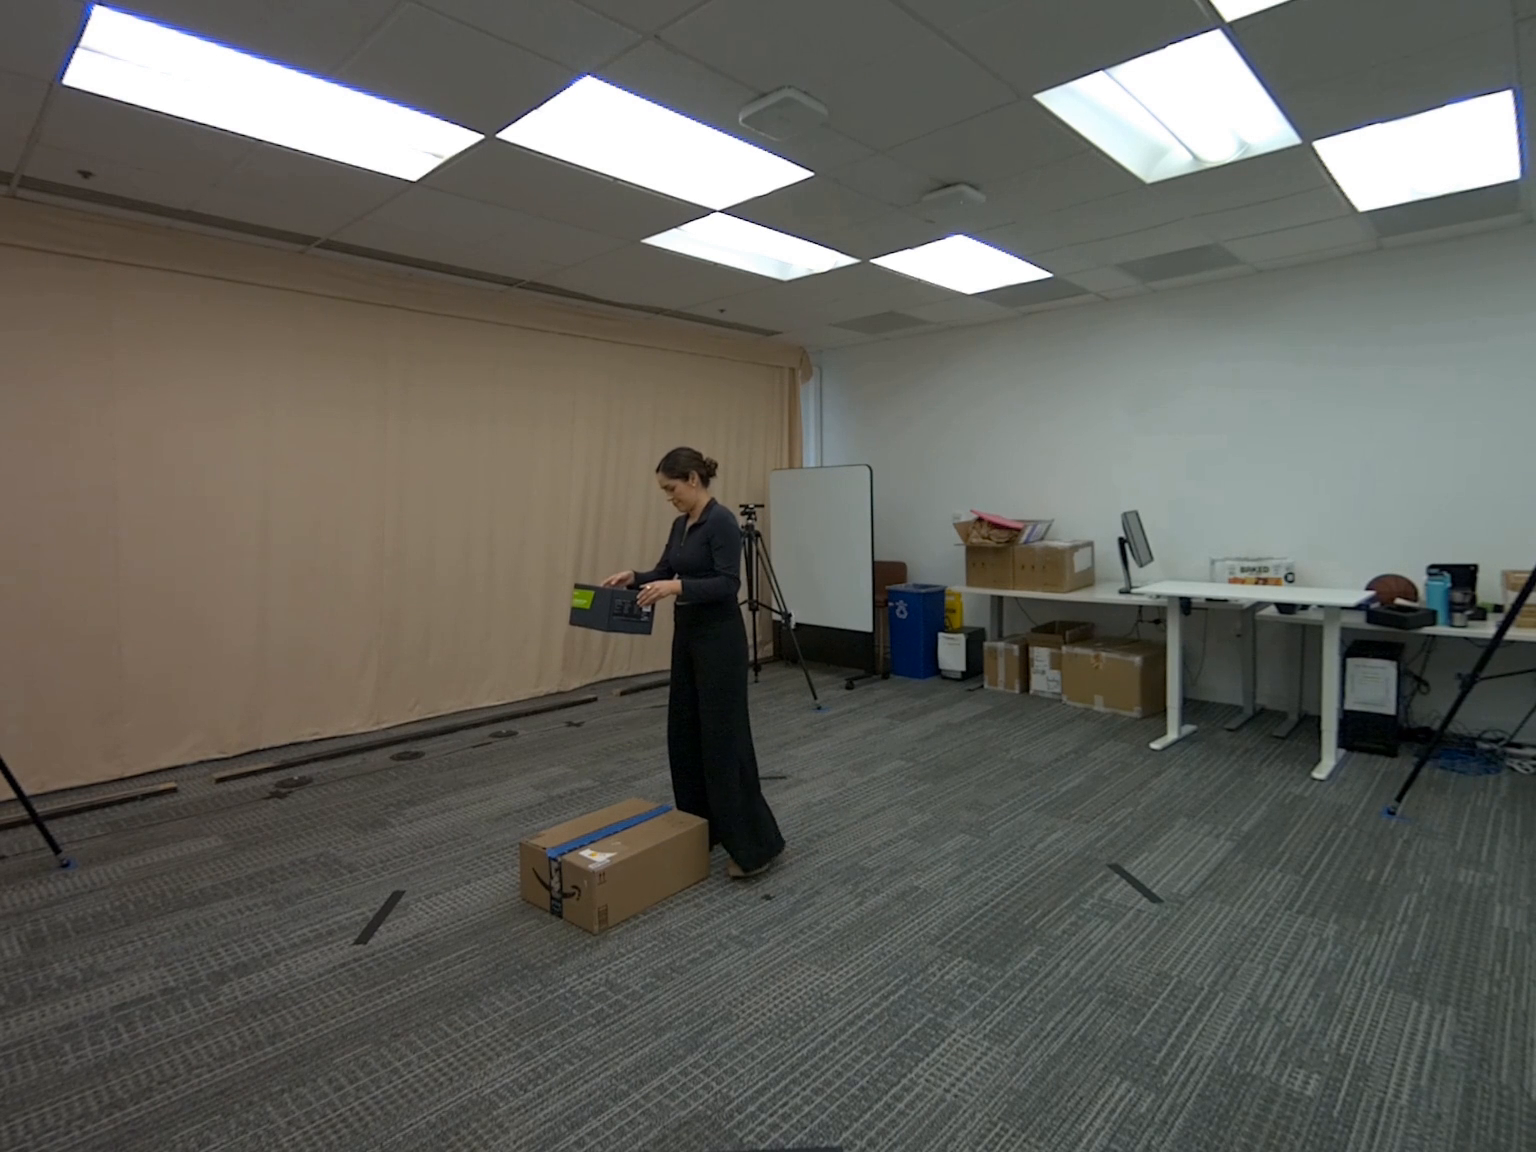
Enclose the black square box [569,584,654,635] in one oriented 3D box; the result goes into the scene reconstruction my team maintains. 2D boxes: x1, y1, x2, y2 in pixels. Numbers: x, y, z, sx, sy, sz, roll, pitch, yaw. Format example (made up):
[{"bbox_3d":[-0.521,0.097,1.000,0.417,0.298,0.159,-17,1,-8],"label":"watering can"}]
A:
[{"bbox_3d":[-0.567,0.126,3.101,0.235,0.156,0.209,5,-3,42],"label":"black square box"}]
